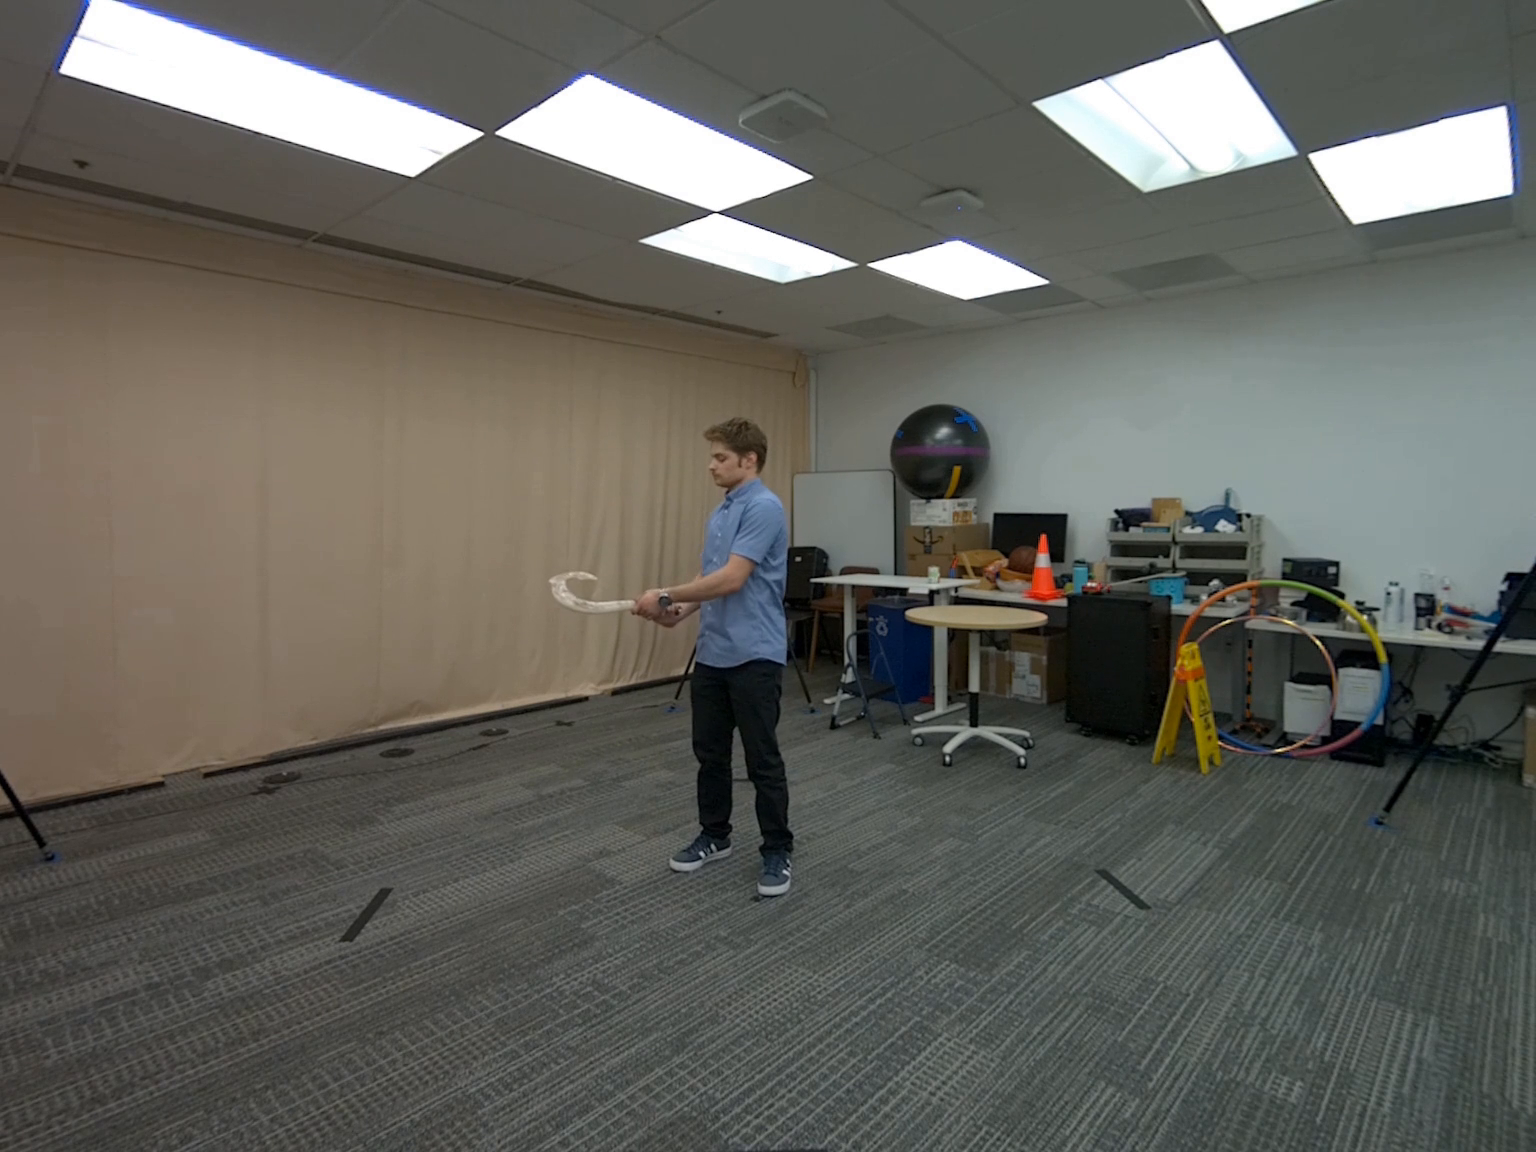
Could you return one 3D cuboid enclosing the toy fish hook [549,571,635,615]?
[{"bbox_3d":[-0.535,0.077,3.096,0.493,0.048,0.231,7,39,-27],"label":"toy fish hook"}]
